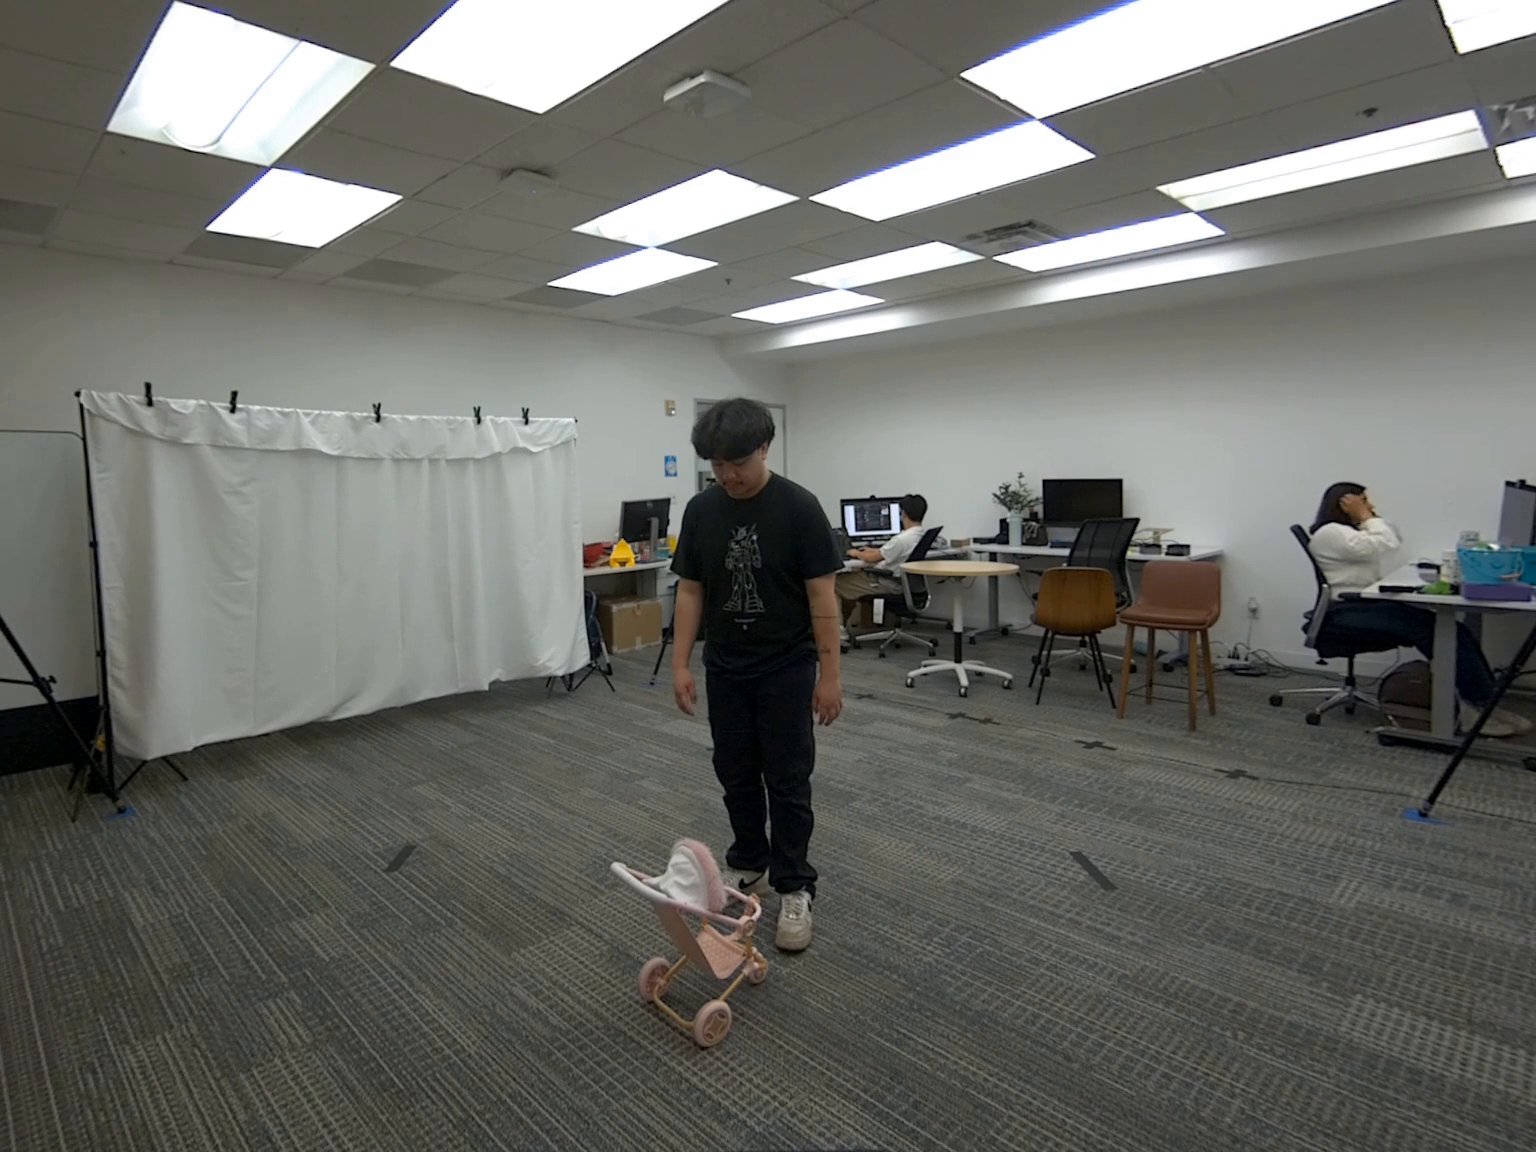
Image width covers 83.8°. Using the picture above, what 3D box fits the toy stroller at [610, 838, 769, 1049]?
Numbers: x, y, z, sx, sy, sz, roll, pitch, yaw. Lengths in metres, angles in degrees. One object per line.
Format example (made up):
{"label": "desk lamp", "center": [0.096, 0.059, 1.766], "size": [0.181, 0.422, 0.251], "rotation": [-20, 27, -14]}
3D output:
{"label": "toy stroller", "center": [-0.168, 0.925, 2.237], "size": [0.336, 0.527, 0.290], "rotation": [-23, 16, -33]}
